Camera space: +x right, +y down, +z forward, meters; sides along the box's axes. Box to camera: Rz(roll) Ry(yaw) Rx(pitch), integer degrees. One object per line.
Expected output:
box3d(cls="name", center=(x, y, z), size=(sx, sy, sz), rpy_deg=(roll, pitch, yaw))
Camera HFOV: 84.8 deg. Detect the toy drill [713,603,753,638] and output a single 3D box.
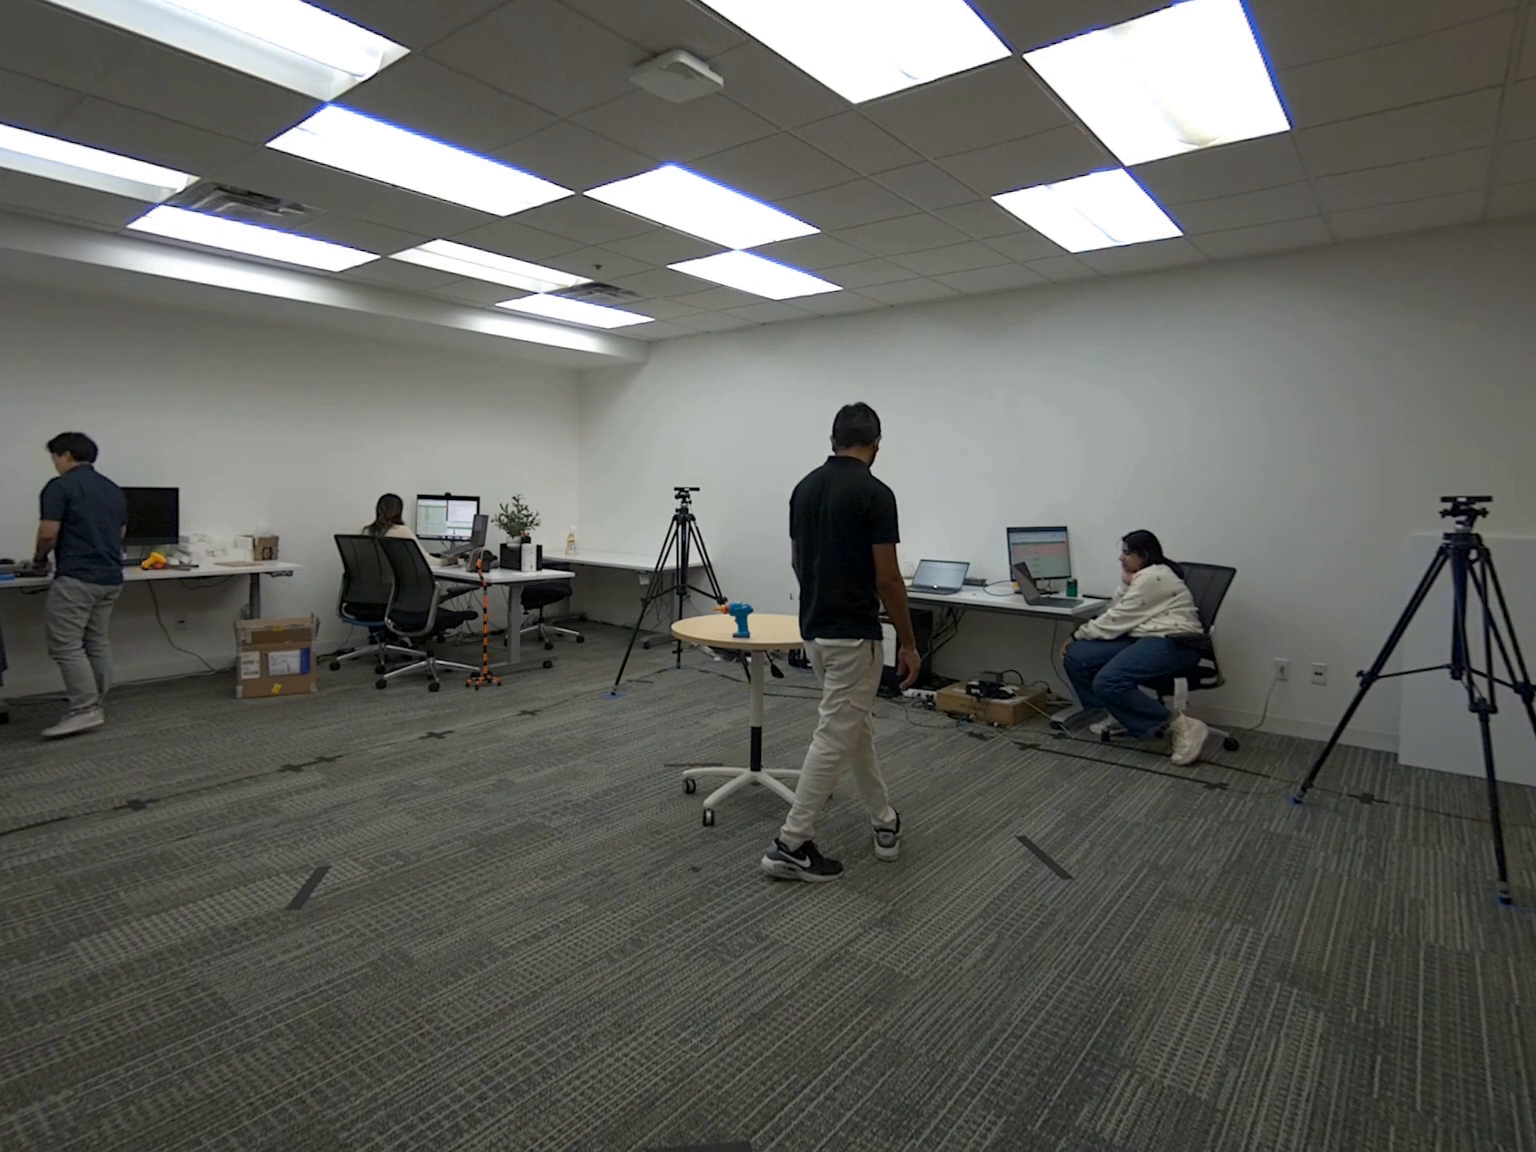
box3d(cls="toy drill", center=(-0.159, 0.176, 3.510), size=(0.171, 0.146, 0.061), rpy_deg=(1, 2, 7))
